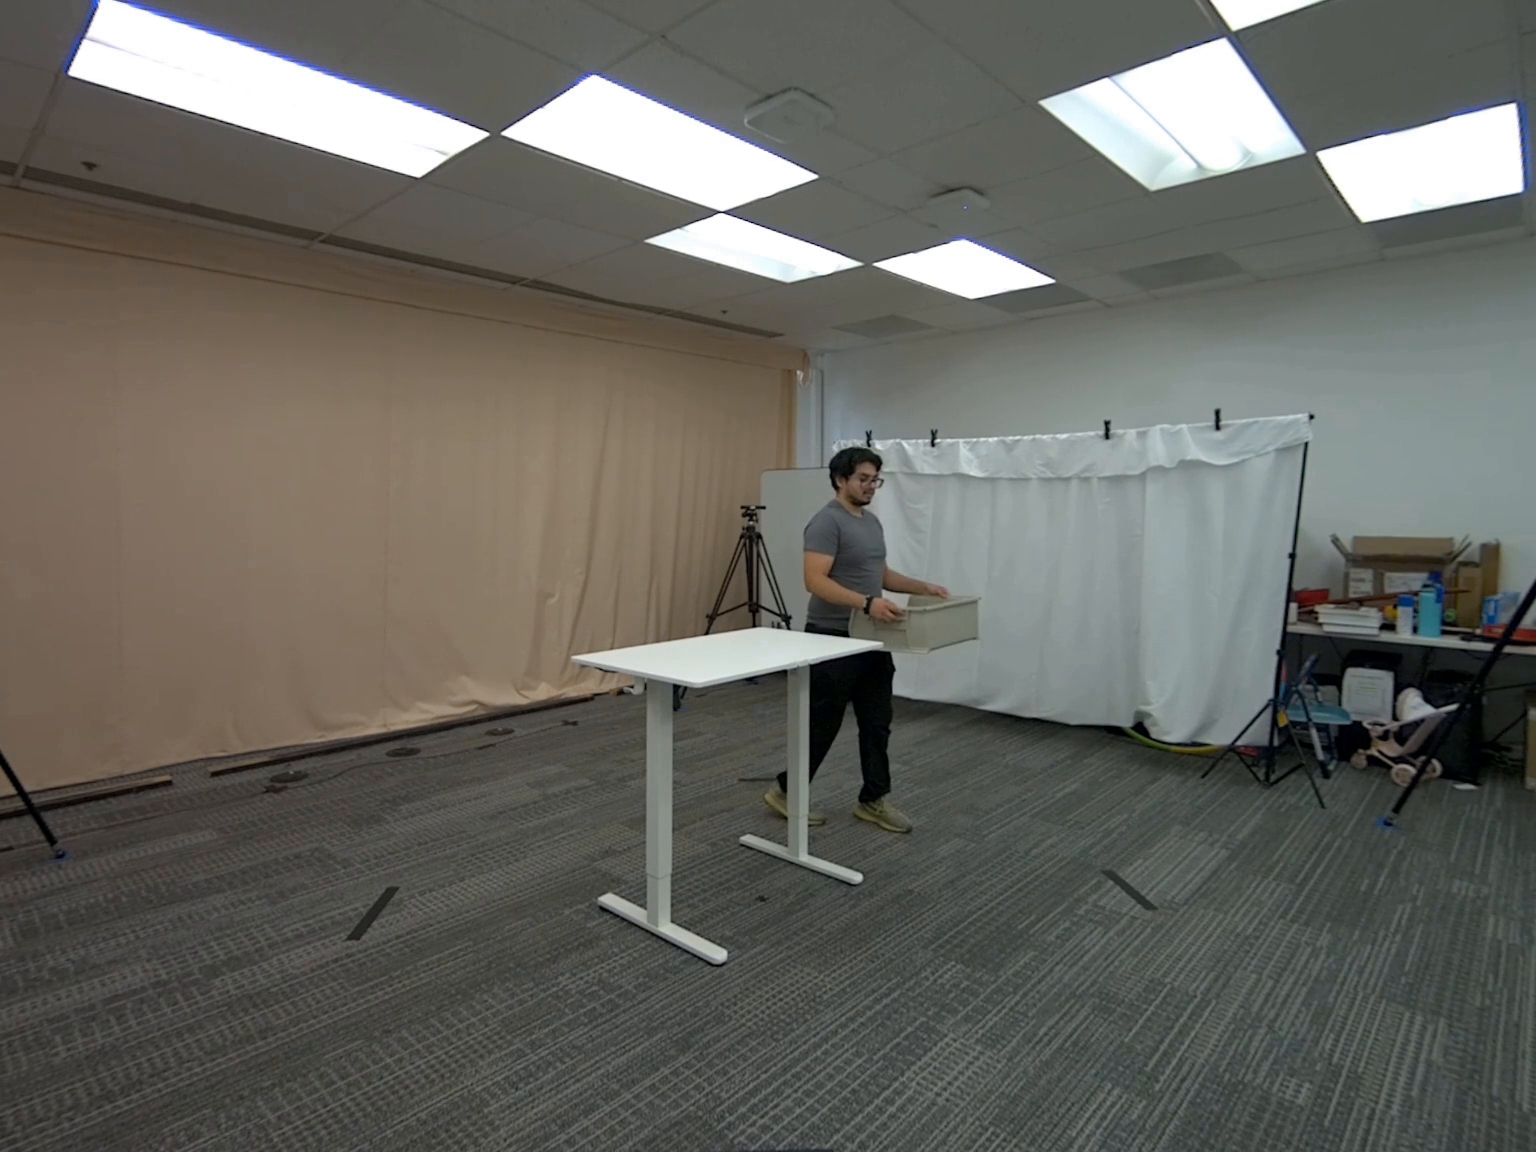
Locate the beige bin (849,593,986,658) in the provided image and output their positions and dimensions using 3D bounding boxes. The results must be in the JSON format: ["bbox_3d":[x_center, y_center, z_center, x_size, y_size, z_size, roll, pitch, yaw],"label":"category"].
[{"bbox_3d":[0.615,0.188,3.493,0.390,0.188,0.409,4,7,45],"label":"beige bin"}]
